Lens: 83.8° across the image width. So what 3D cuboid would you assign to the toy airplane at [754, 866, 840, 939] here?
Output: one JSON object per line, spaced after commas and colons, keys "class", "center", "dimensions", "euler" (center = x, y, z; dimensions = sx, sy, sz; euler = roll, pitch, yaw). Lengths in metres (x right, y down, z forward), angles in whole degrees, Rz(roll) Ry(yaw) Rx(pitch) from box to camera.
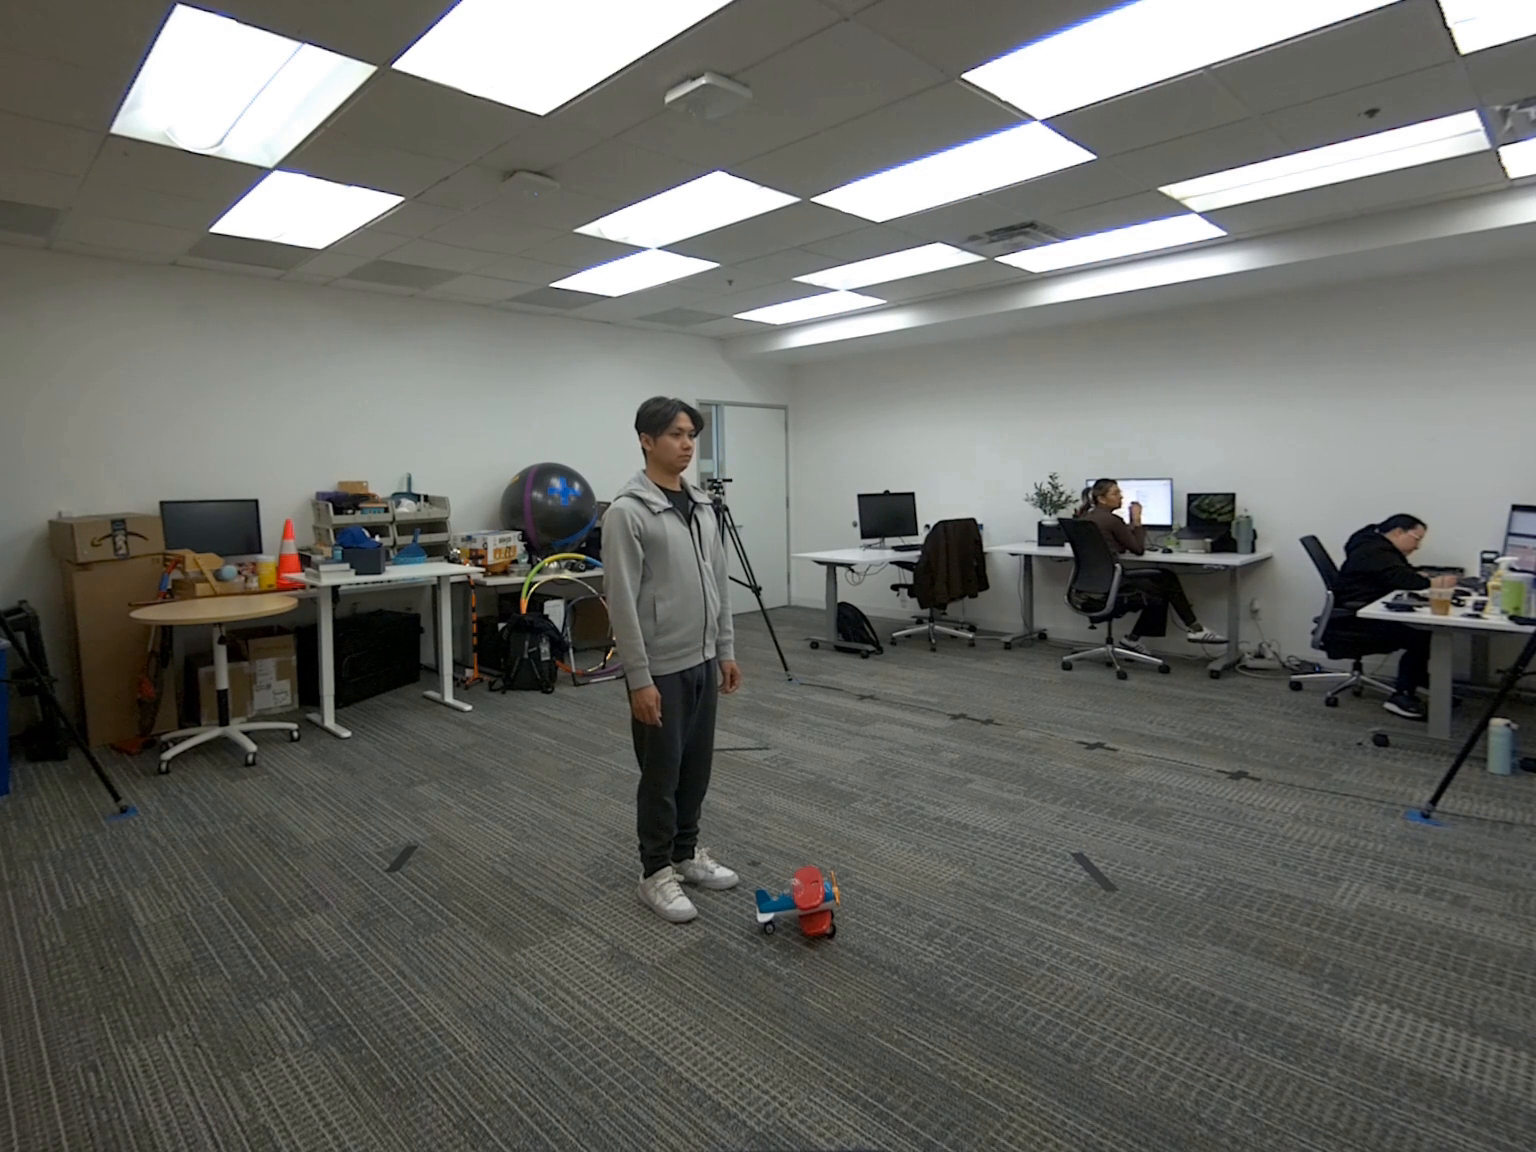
{"class": "toy airplane", "center": [0.099, 1.020, 2.625], "dimensions": [0.254, 0.156, 0.257], "euler": [-4, 6, -26]}
